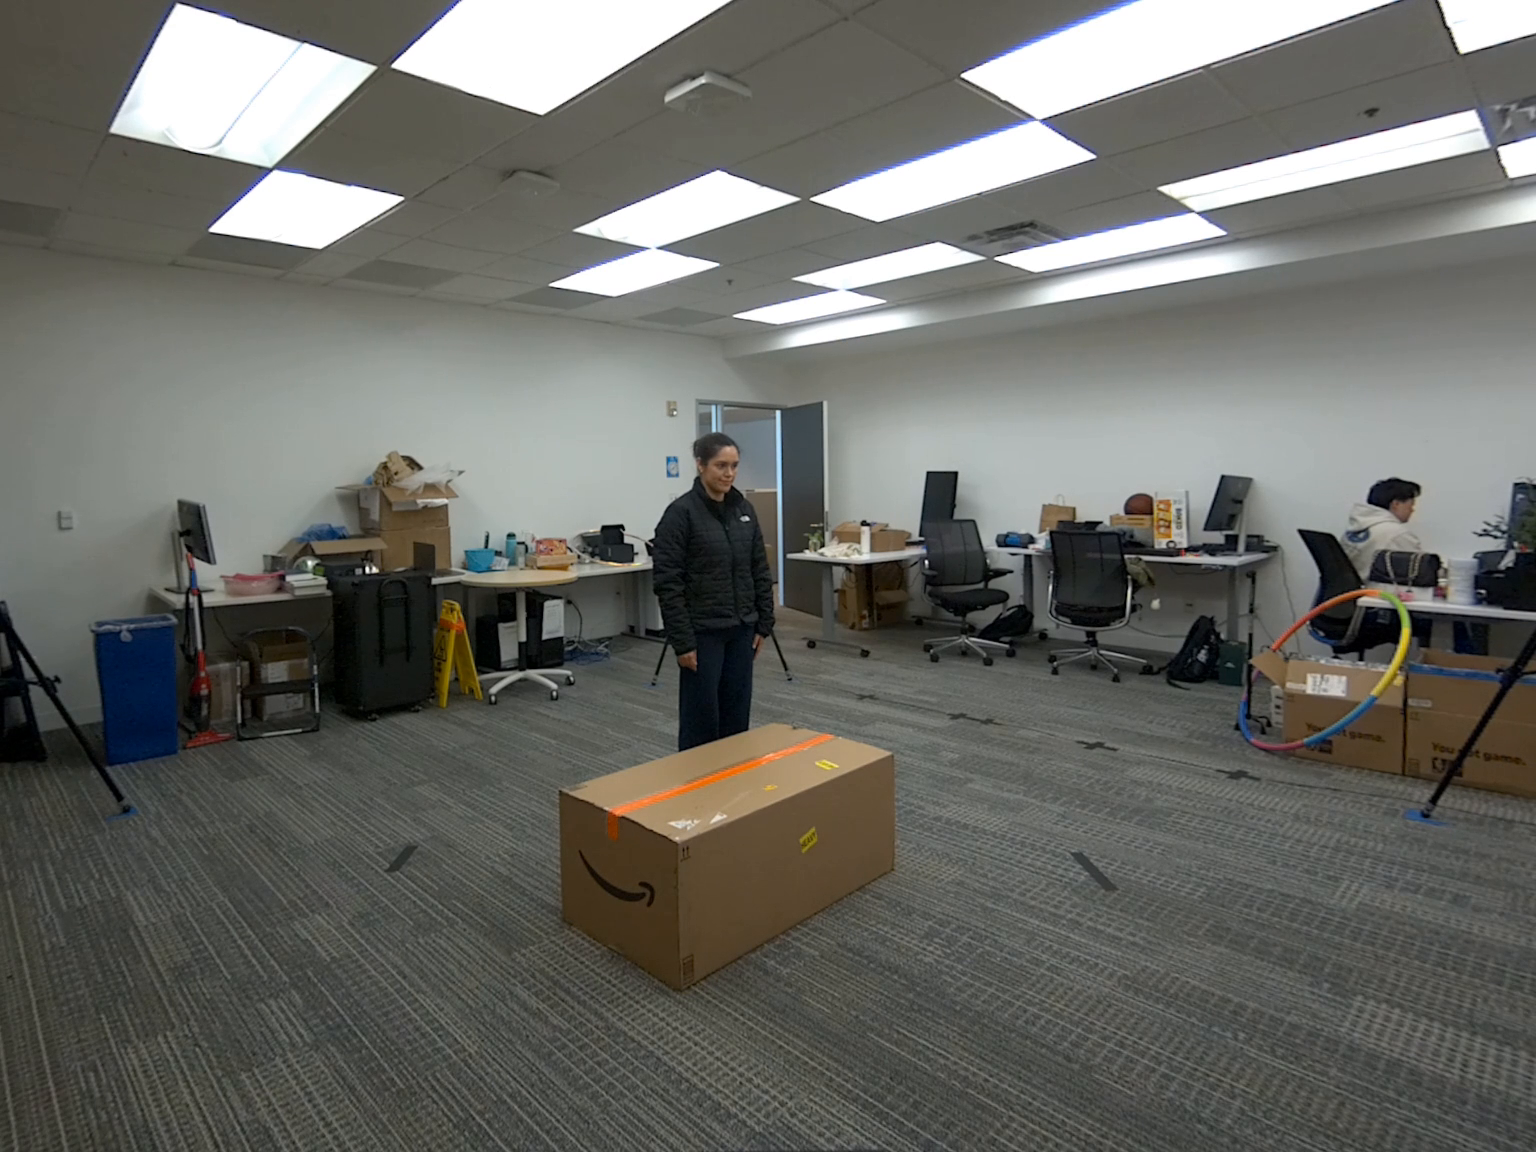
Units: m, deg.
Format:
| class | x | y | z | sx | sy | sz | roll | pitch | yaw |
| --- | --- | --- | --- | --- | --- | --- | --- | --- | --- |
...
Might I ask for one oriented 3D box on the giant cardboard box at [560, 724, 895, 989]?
| class | x | y | z | sx | sy | sz | roll | pitch | yaw |
| --- | --- | --- | --- | --- | --- | --- | --- | --- | --- |
| giant cardboard box | -0.107 | 0.862 | 2.887 | 0.601 | 0.445 | 1.001 | 3 | 7 | 44 |
